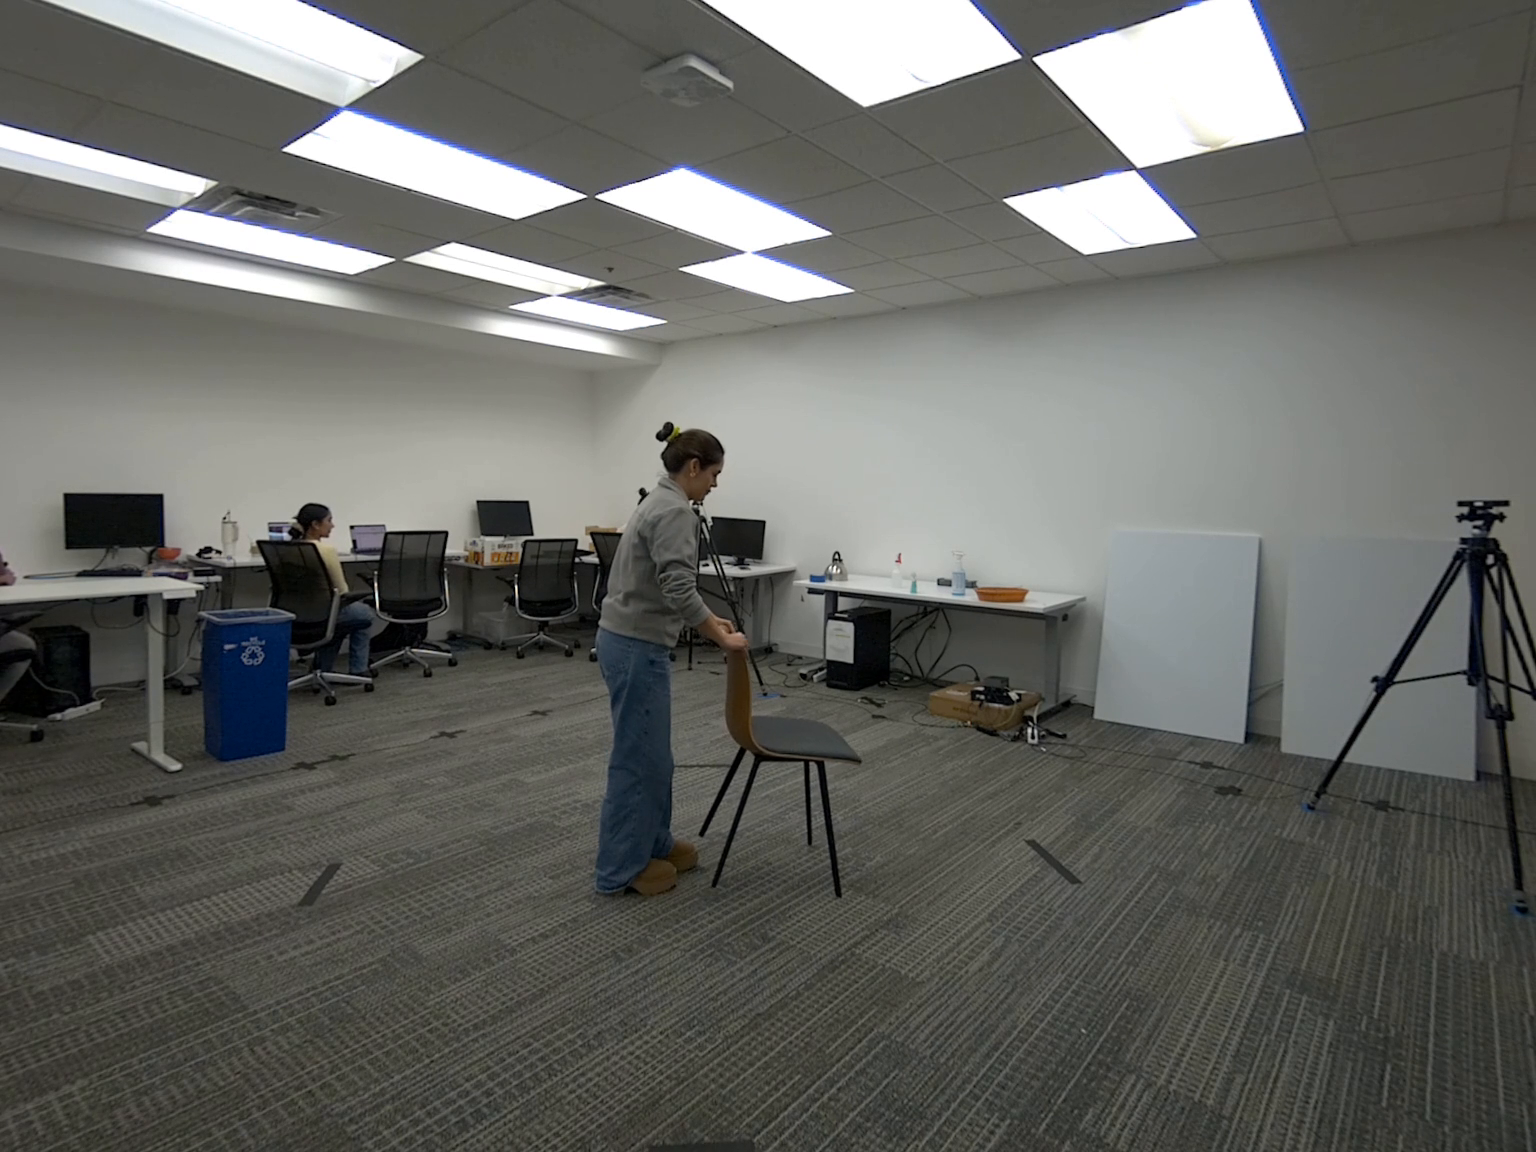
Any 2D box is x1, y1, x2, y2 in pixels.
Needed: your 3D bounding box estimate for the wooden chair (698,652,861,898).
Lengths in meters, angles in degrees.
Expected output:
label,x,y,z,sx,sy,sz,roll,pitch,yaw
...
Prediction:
label,x,y,z,sx,sy,sz,roll,pitch,yaw
wooden chair,0.052,0.635,3.093,0.518,0.876,0.483,2,2,-9
